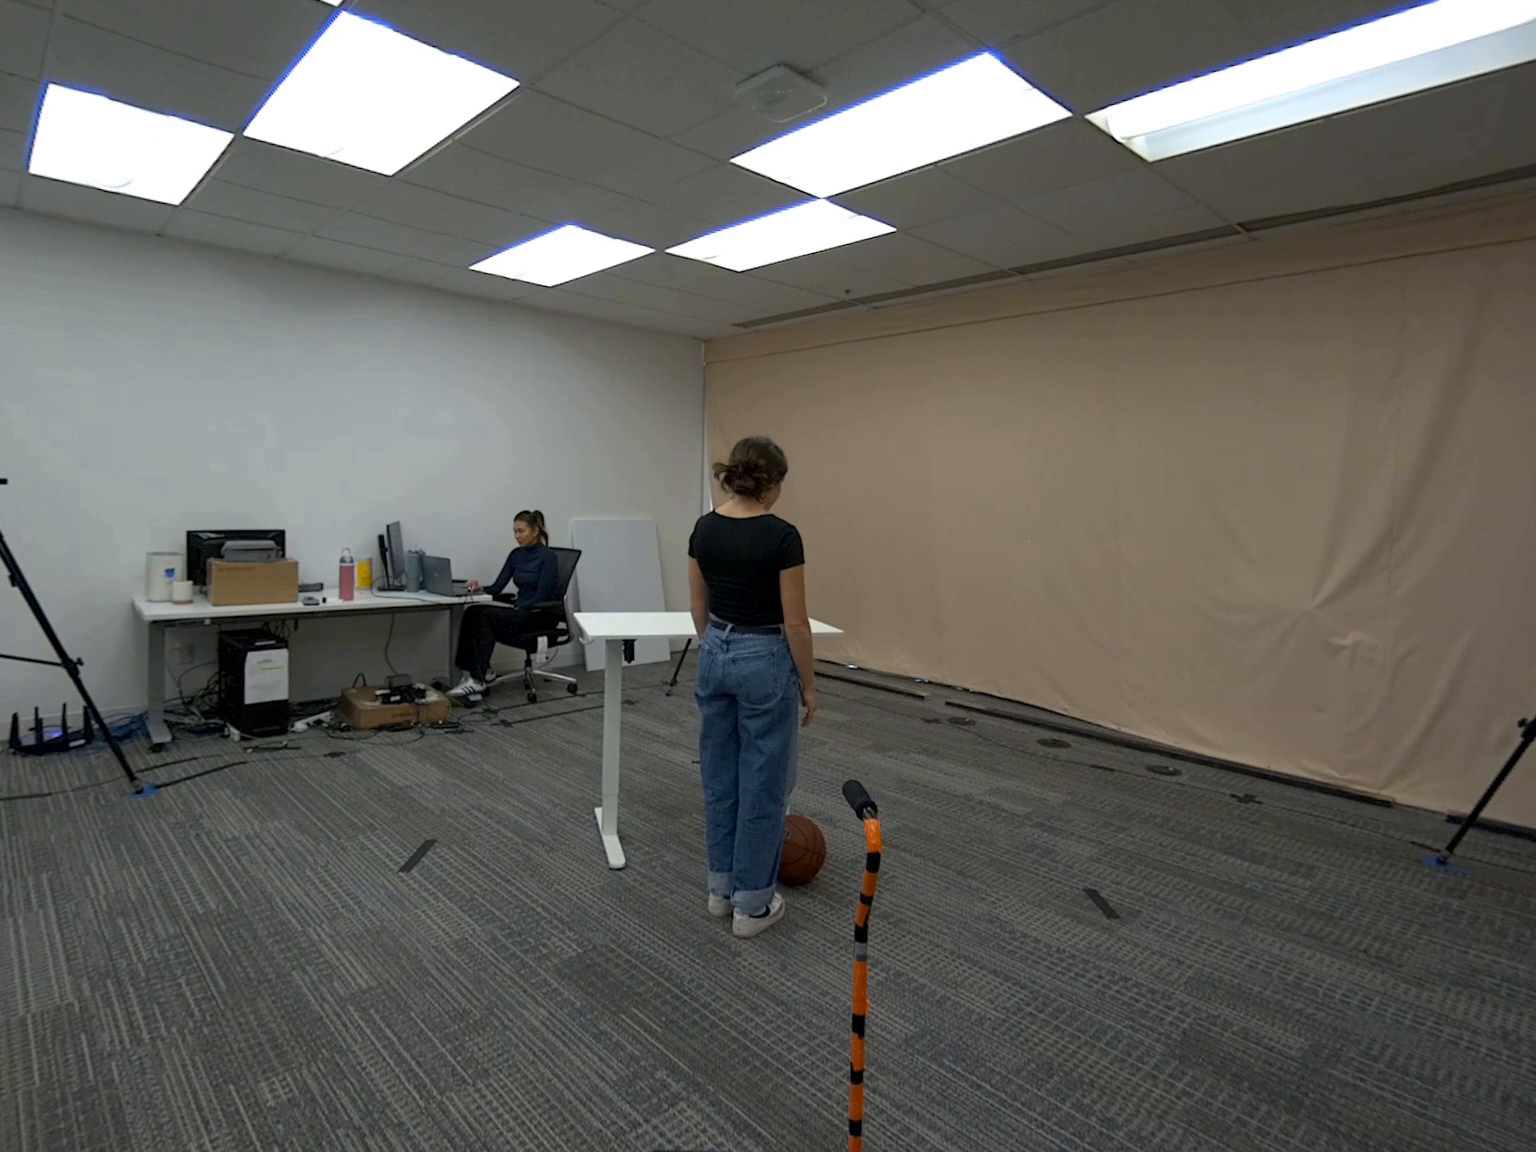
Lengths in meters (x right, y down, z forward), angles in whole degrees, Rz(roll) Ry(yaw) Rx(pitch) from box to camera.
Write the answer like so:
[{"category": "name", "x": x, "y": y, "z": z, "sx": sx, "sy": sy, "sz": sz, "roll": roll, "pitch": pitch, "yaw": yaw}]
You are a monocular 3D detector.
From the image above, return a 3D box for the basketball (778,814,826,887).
[{"category": "basketball", "x": 0.085, "y": 0.993, "z": 3.060, "sx": 0.236, "sy": 0.235, "sz": 0.237, "roll": 1, "pitch": 4, "yaw": -1}]
